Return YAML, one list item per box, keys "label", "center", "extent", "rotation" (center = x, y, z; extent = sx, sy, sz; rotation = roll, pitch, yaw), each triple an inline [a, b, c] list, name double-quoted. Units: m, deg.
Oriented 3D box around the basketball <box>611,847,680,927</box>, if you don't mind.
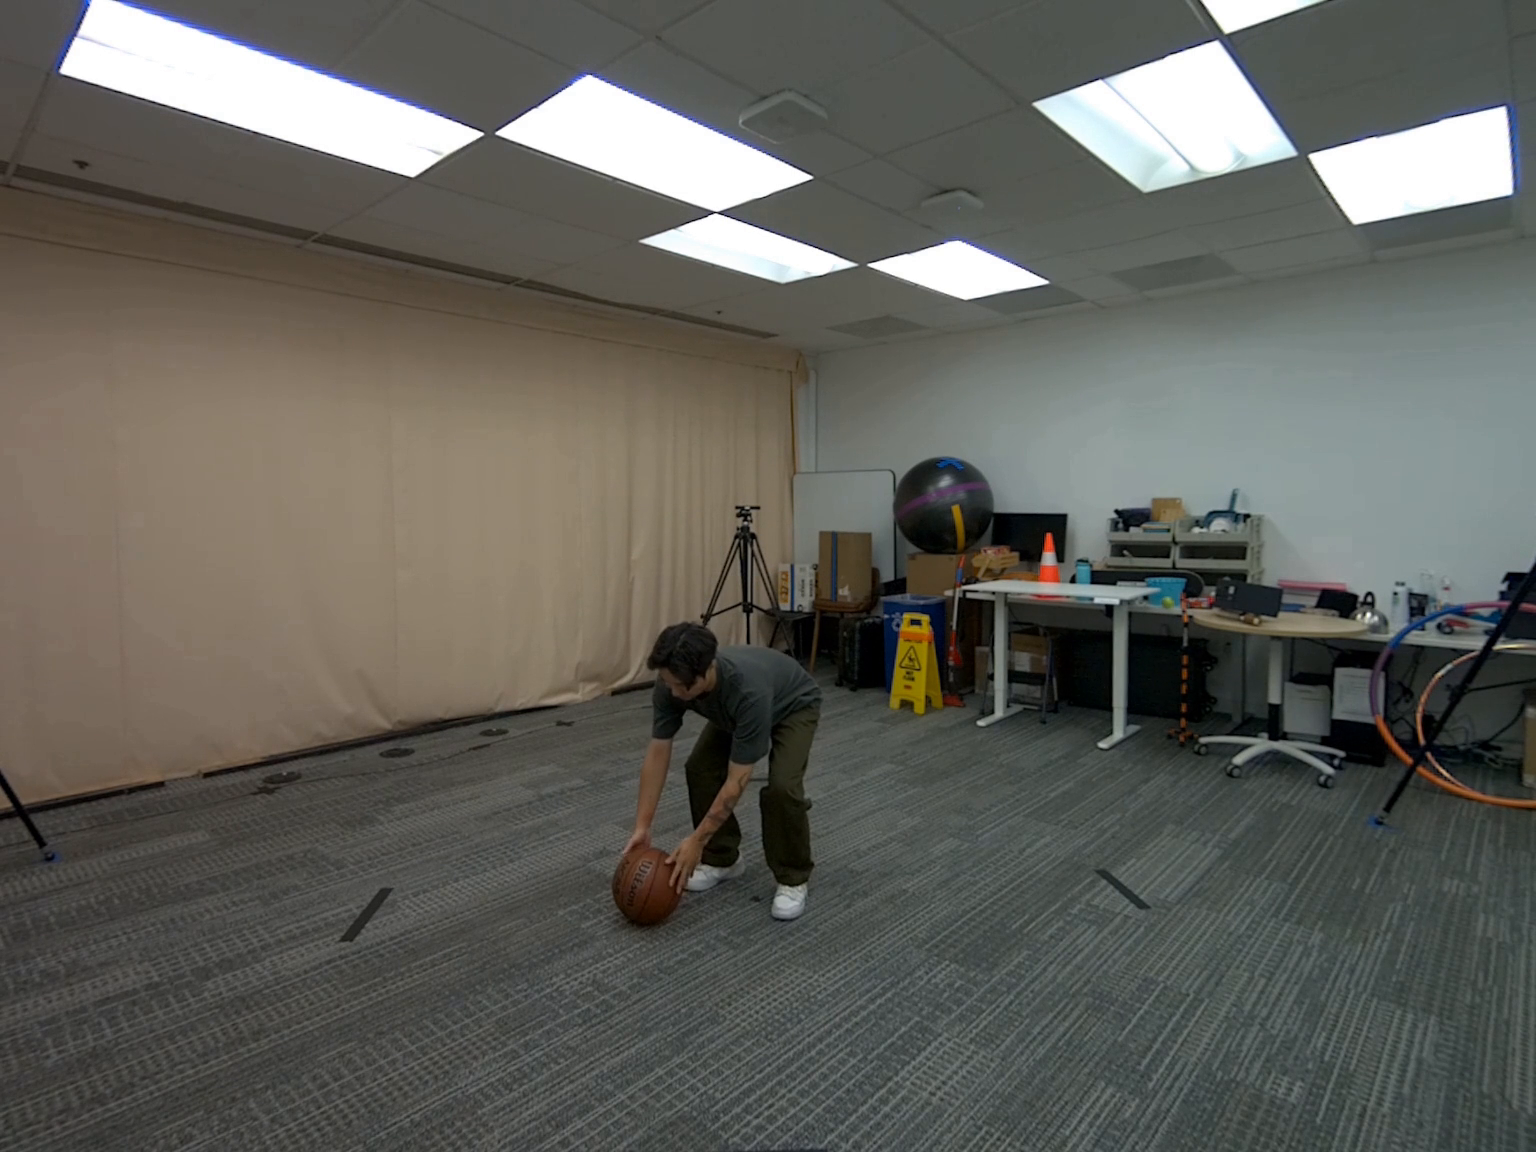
- label: "basketball"
  center: [-0.403, 1.040, 2.828]
  extent: [0.236, 0.235, 0.237]
  rotation: [0, 4, -2]
